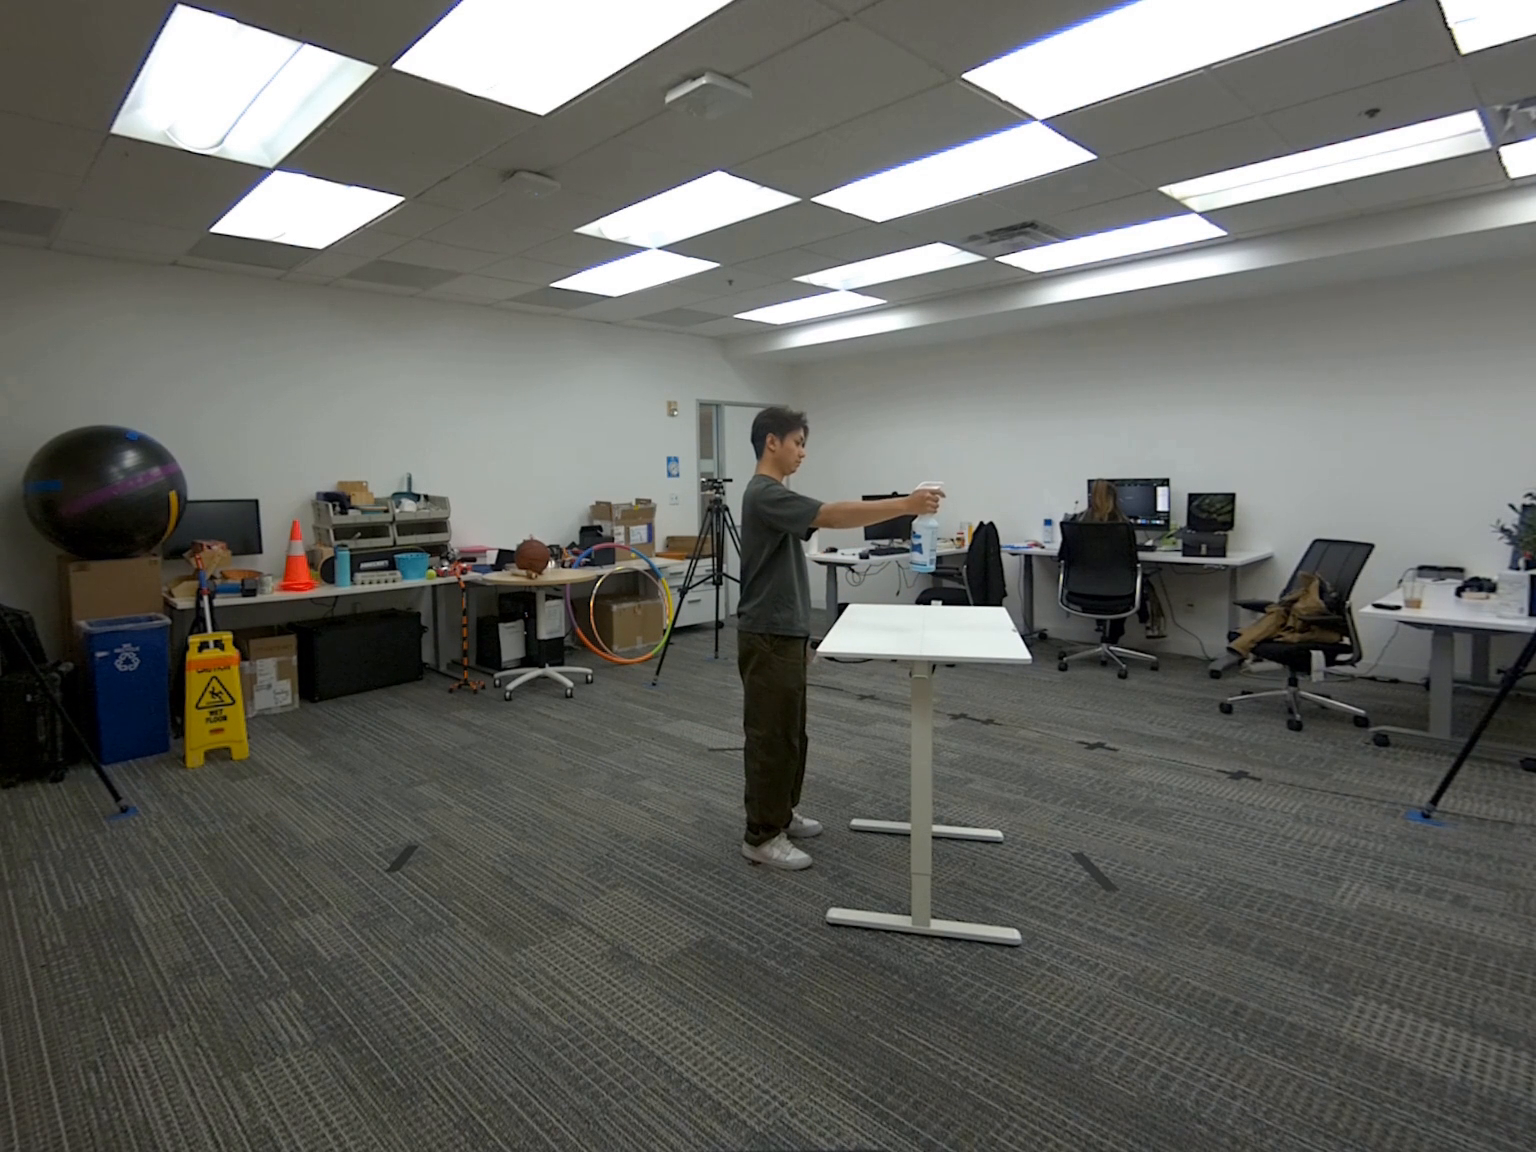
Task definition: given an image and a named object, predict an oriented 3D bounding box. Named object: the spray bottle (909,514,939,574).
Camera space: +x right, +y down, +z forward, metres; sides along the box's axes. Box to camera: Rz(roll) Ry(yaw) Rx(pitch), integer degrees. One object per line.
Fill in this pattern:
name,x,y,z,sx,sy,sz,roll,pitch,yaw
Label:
spray bottle,0.525,-0.165,2.831,0.092,0.296,0.085,5,7,27
